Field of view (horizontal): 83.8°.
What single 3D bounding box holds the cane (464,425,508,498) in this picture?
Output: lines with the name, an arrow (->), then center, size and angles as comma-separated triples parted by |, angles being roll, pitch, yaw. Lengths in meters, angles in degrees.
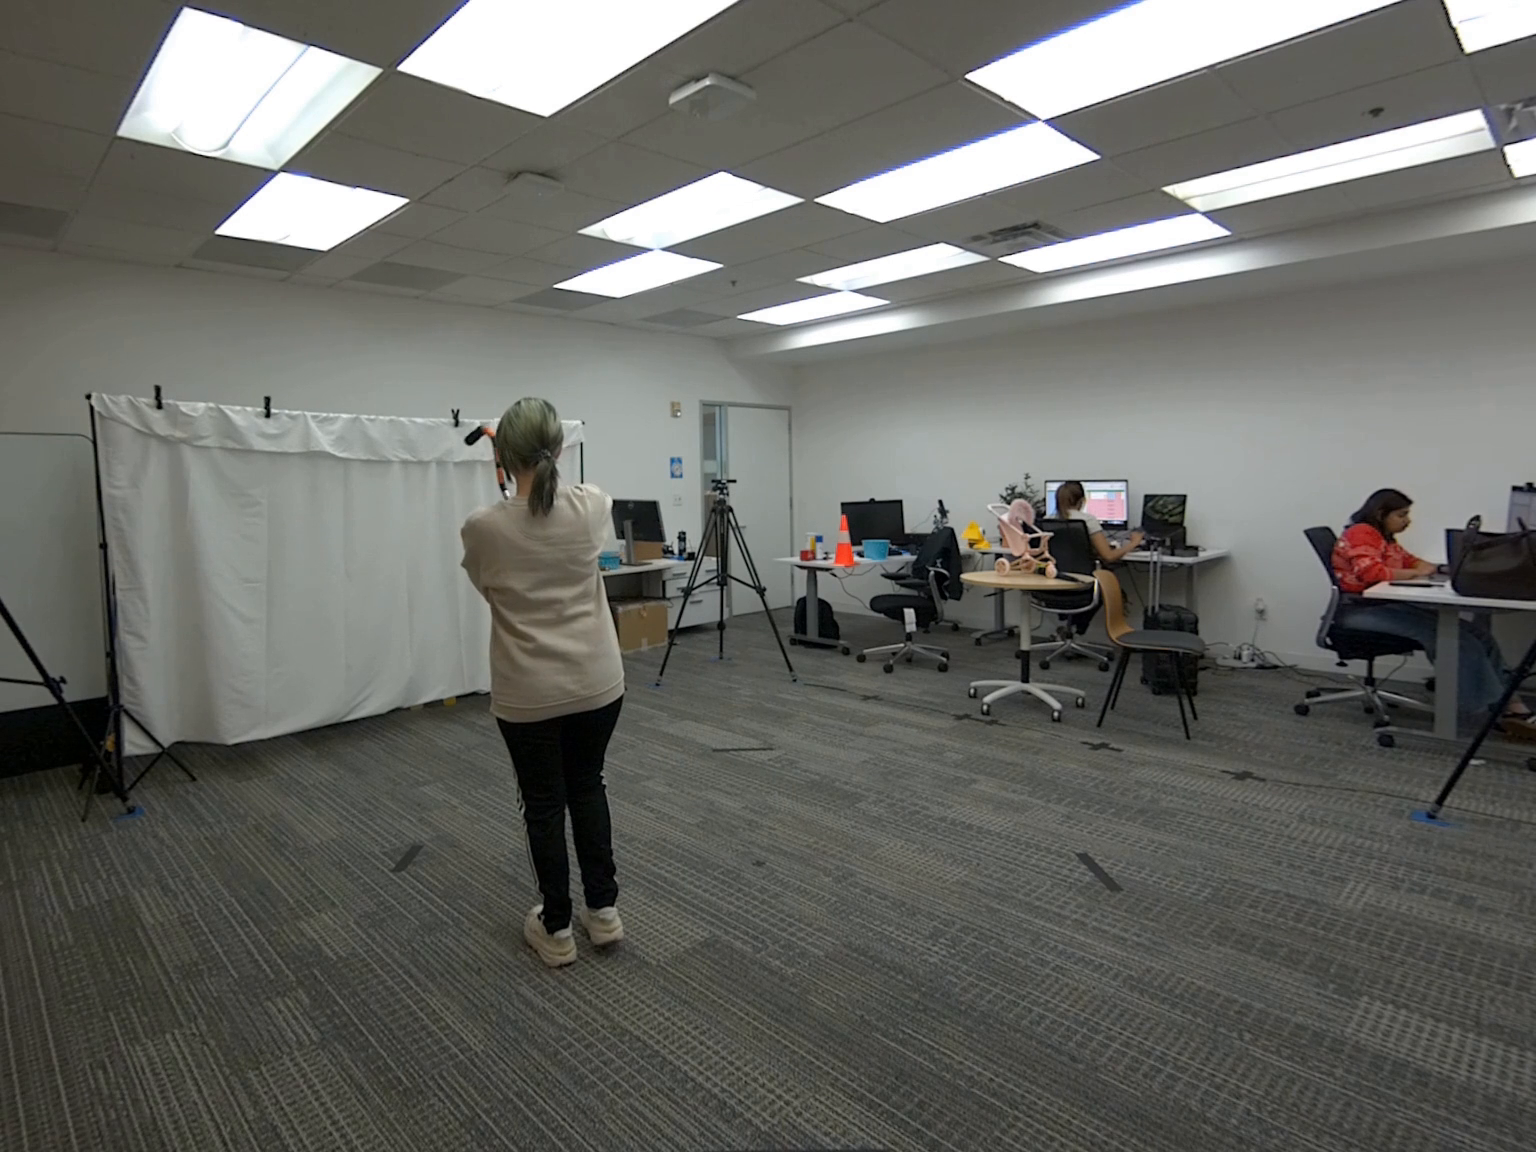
cane -> -0.822, -0.082, 2.884 | 0.149, 0.909, 0.210 | -21, -1, -45
